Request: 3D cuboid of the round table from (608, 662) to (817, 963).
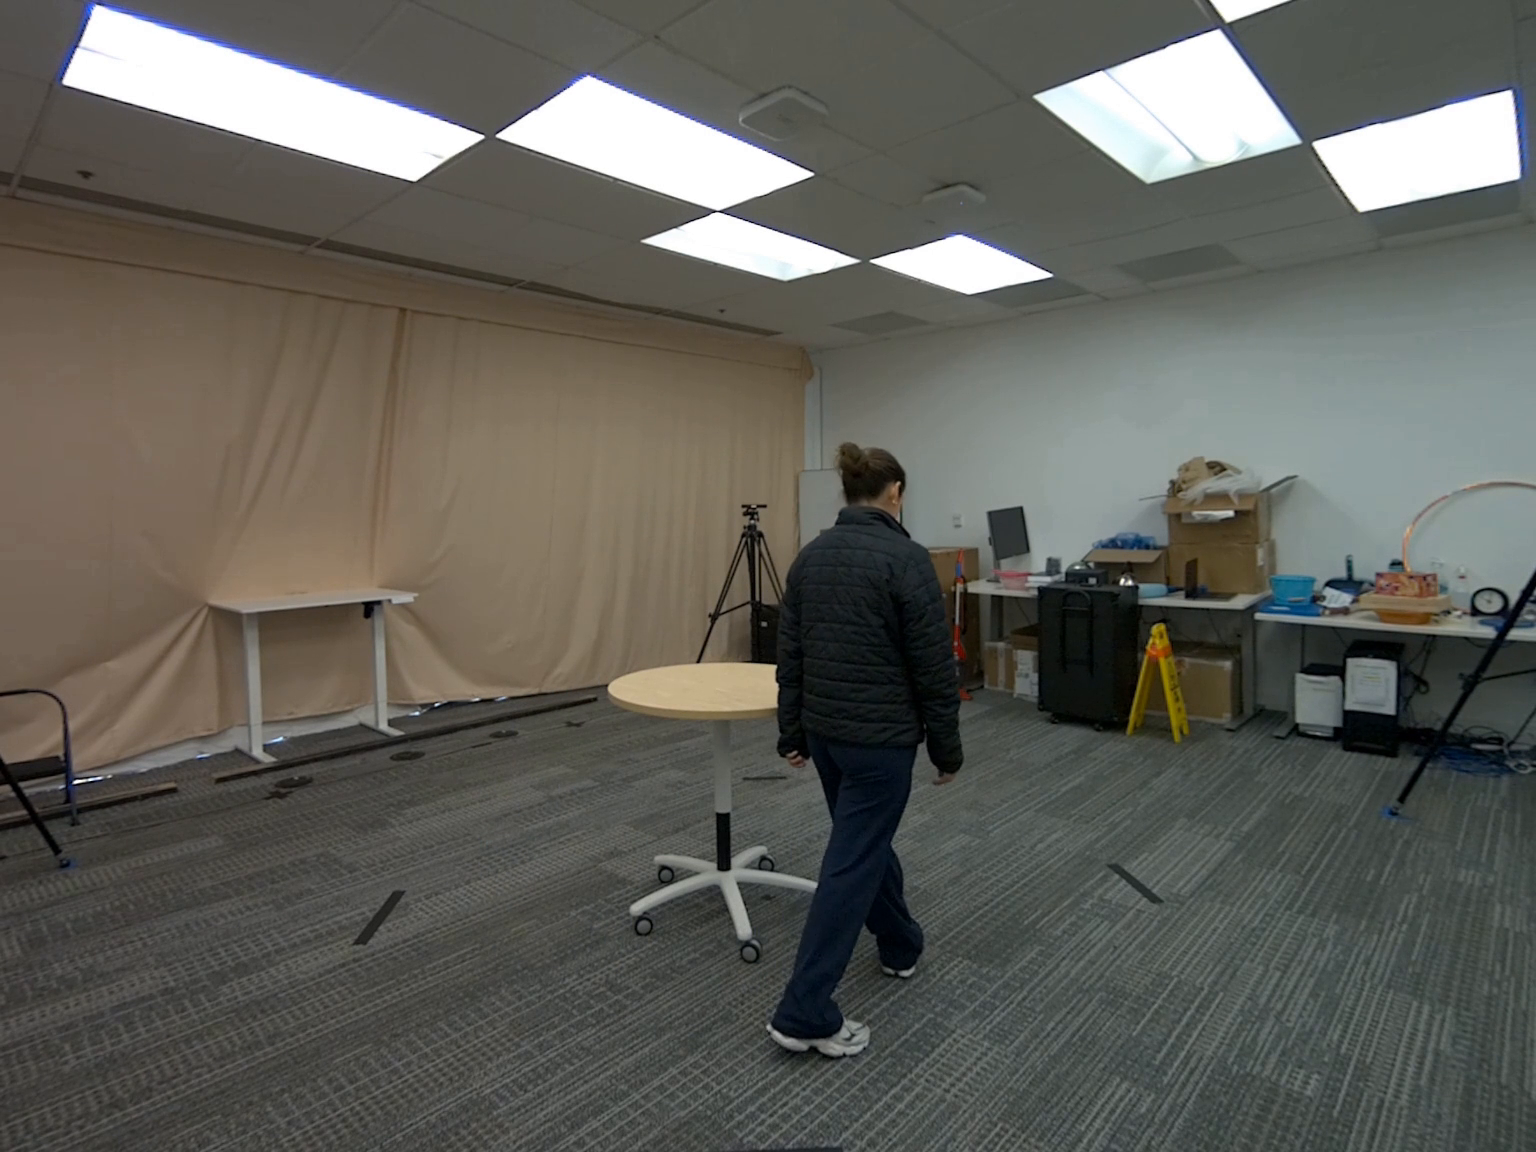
[{"bbox_3d":[-0.145,0.756,2.906,0.784,0.784,0.788,-1,4,-2],"label":"round table"}]
